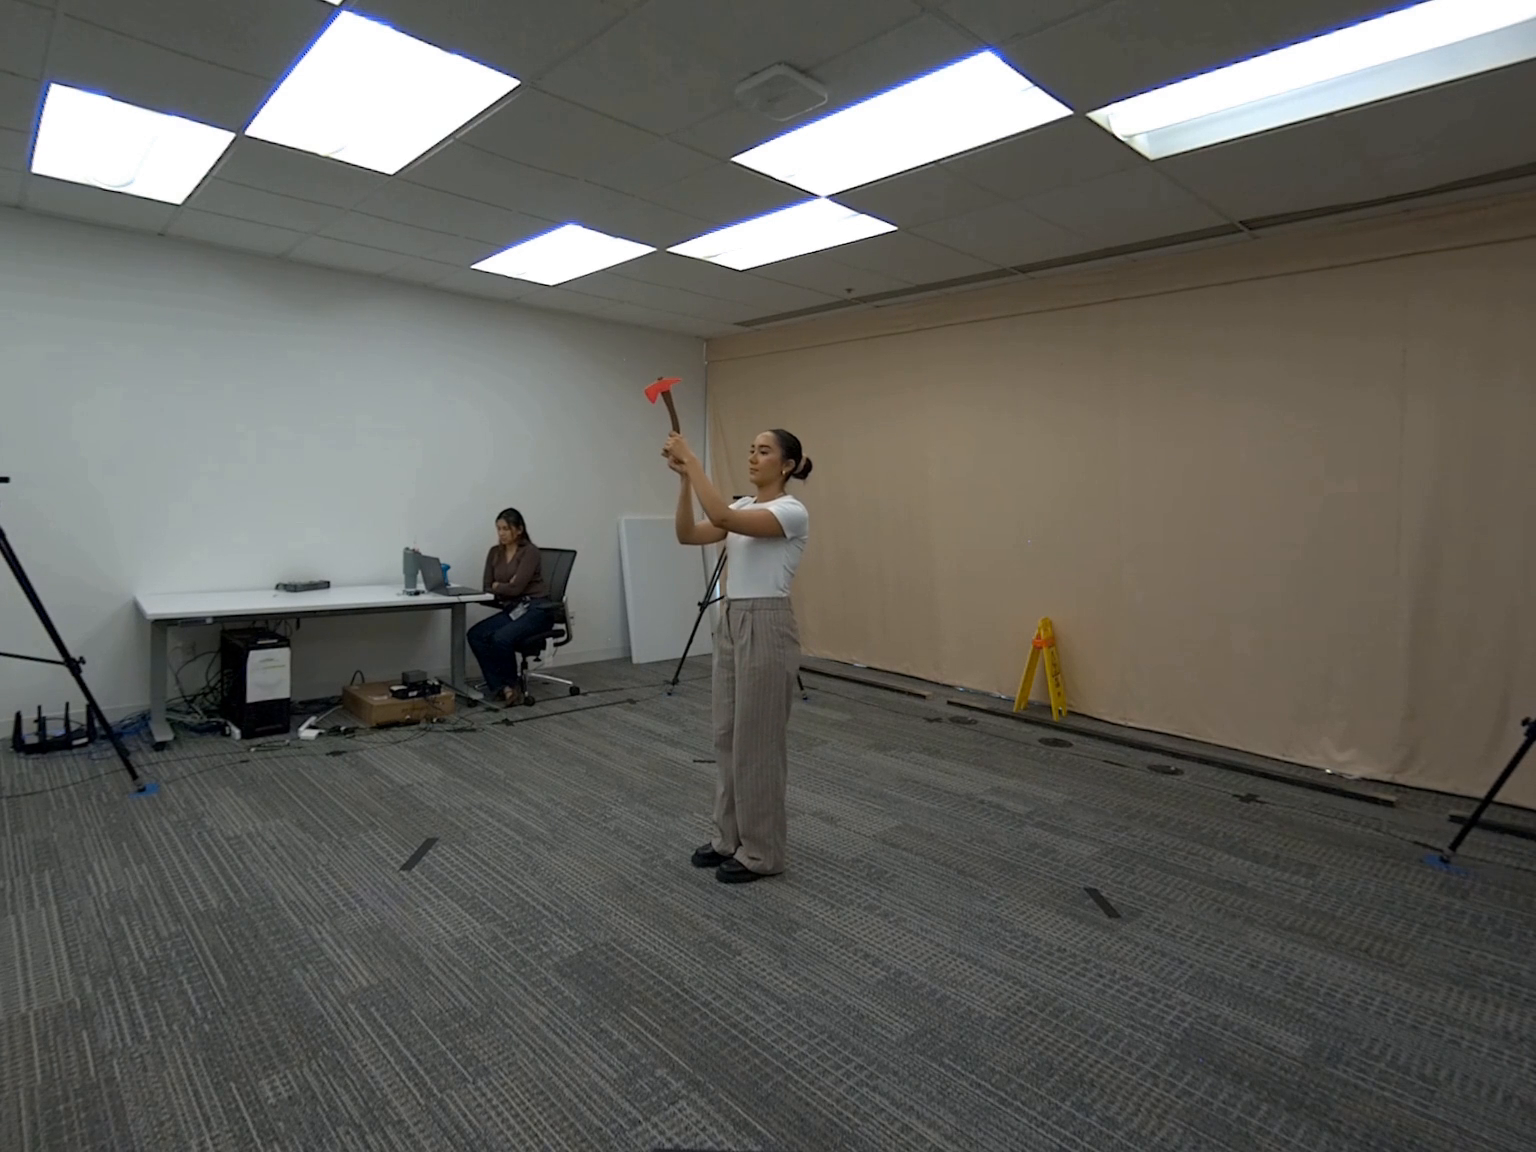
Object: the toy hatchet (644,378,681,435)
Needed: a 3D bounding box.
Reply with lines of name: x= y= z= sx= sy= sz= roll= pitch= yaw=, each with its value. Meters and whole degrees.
toy hatchet: x=-0.378 y=-0.565 z=2.957 sx=0.130 sy=0.269 sz=0.030 roll=-1 pitch=5 yaw=-7
